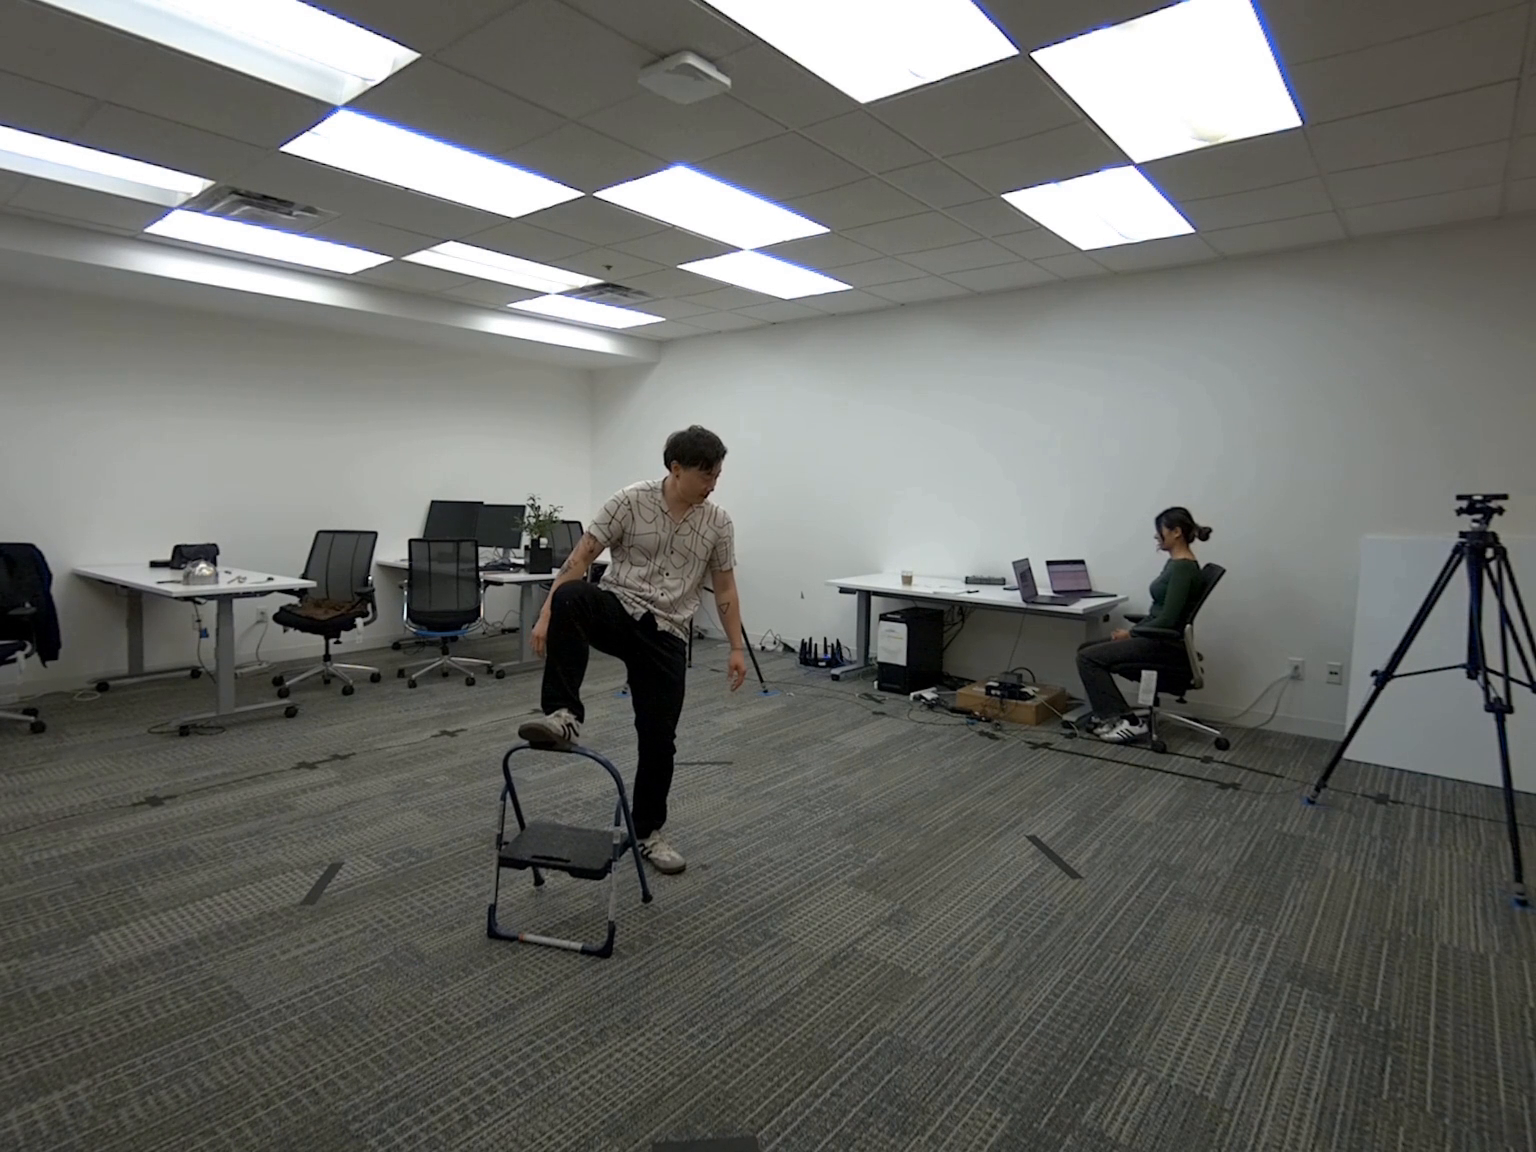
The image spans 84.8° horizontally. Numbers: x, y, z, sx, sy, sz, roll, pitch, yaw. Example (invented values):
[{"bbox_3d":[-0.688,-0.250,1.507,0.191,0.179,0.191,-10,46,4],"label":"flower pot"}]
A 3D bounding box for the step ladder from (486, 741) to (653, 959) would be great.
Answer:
[{"bbox_3d":[-0.641,0.789,2.679,0.437,0.602,0.346,1,8,14],"label":"step ladder"}]
